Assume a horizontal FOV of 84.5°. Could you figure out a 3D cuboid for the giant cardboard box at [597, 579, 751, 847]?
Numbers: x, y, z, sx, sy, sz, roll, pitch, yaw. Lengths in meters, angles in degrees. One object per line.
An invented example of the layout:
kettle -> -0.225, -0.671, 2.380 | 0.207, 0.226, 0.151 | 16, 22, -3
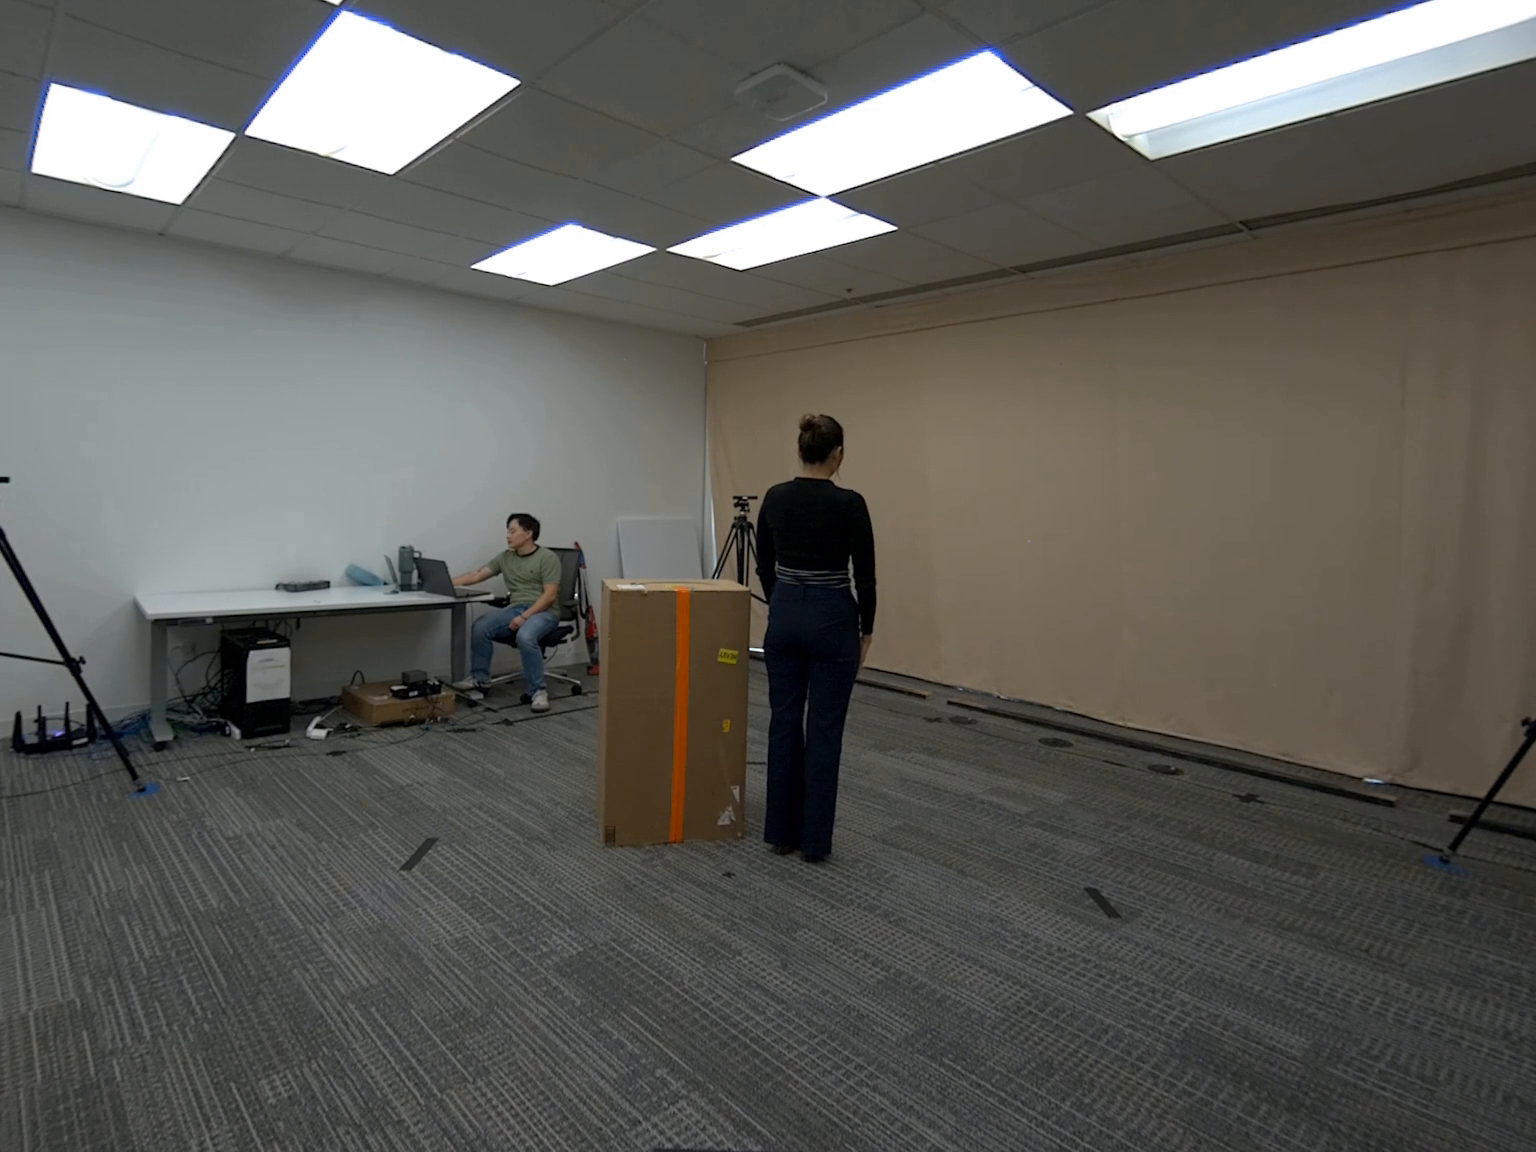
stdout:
giant cardboard box -> -0.423, 0.545, 3.565 | 0.571, 1.024, 0.432 | 1, 3, -15
